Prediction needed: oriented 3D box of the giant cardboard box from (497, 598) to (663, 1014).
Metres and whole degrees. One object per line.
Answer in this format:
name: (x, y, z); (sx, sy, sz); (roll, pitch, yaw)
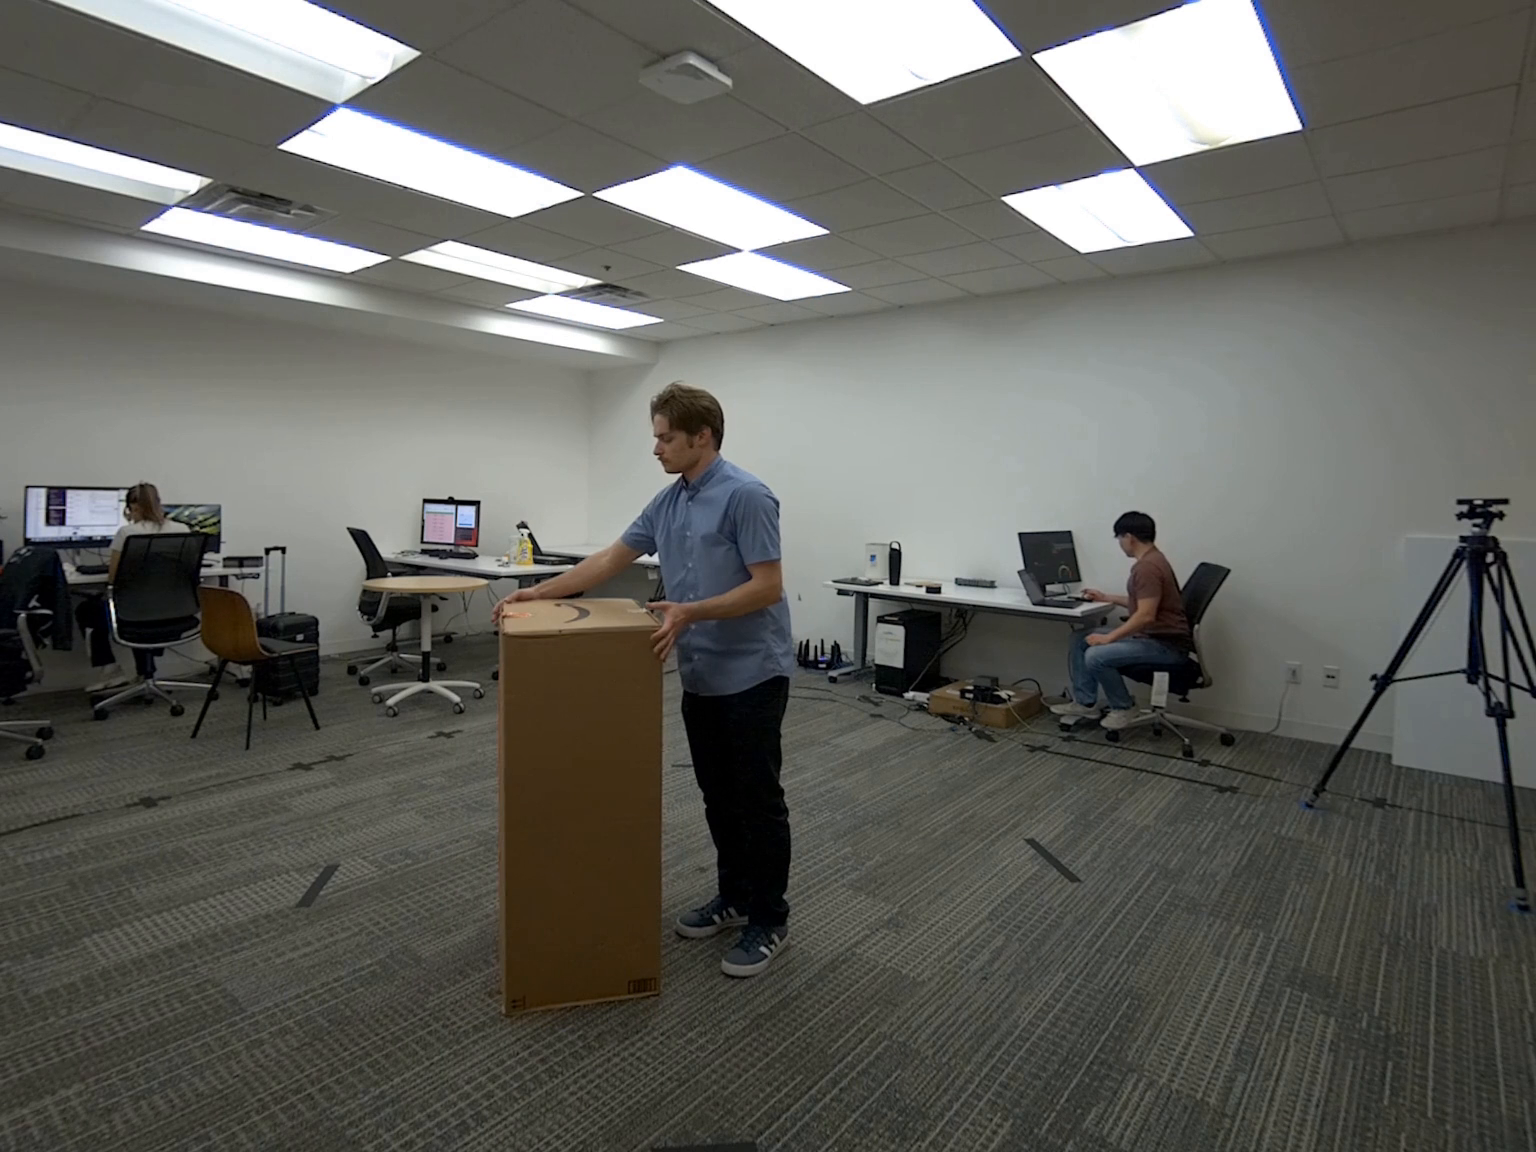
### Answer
giant cardboard box: (-0.581, 0.616, 2.516); (0.419, 1.022, 0.589); (-1, 4, -16)
